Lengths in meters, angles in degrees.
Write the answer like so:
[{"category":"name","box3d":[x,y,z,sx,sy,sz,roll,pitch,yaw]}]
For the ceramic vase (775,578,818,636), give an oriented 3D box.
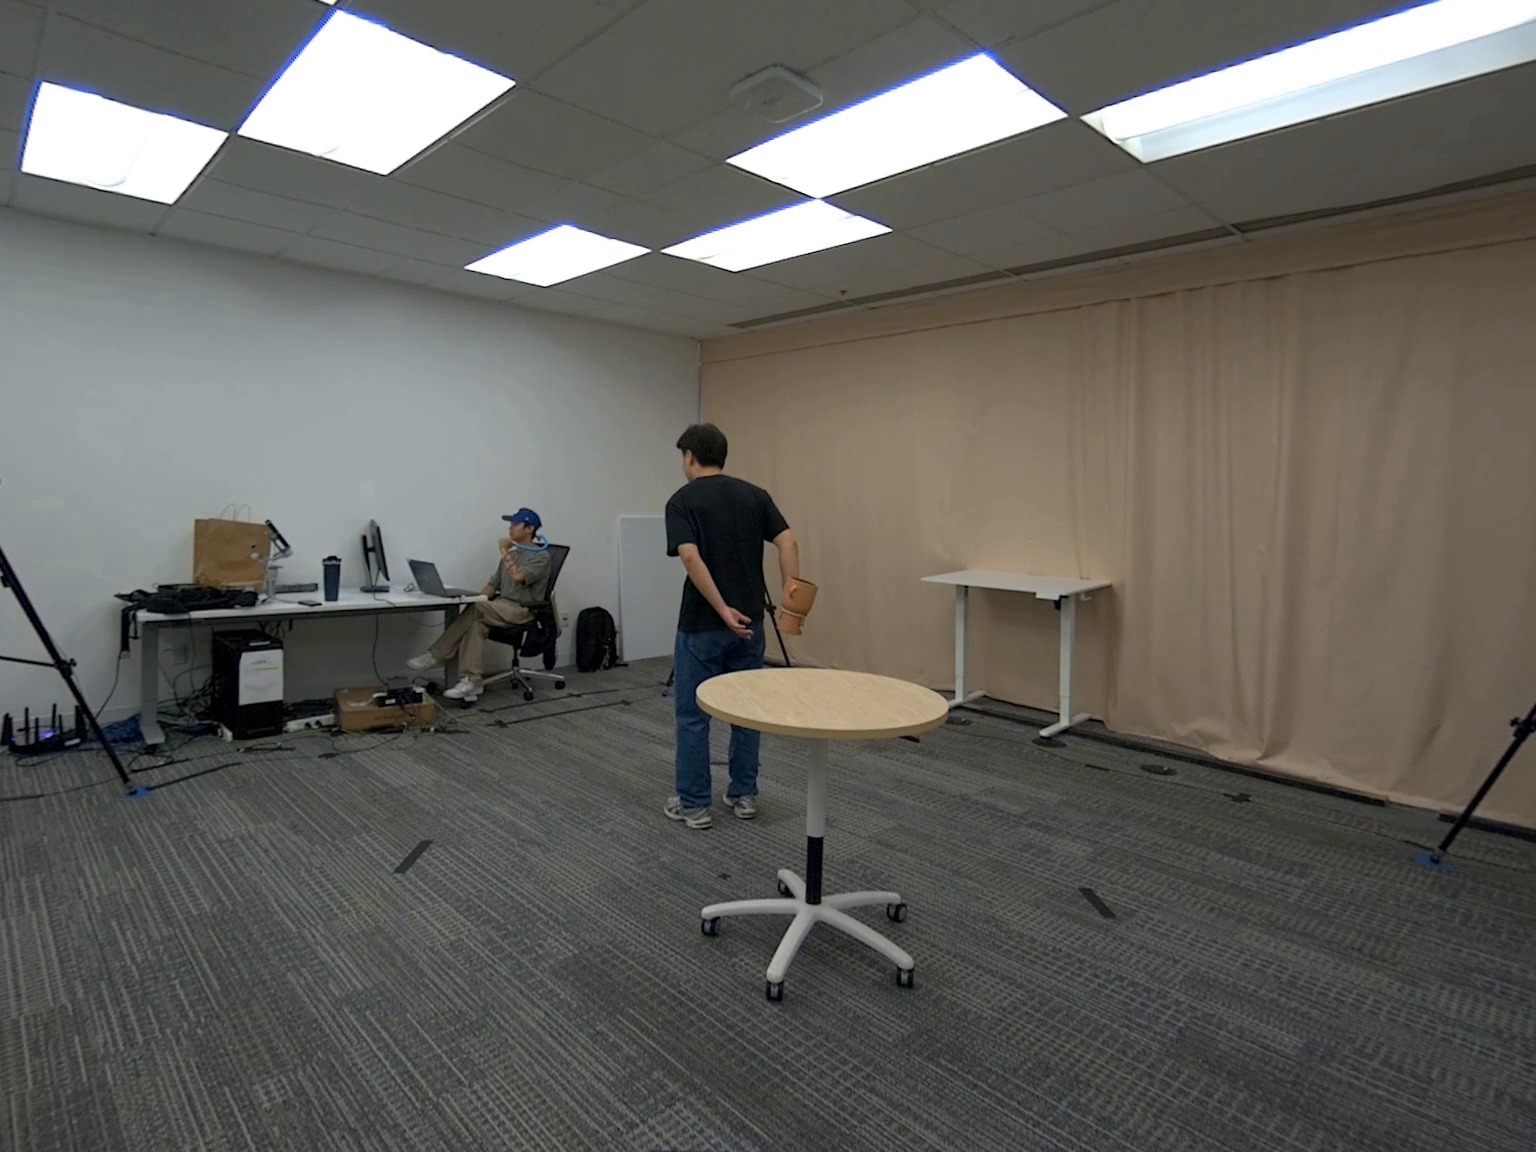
[{"category":"ceramic vase","box3d":[0.099,0.121,3.487,0.155,0.219,0.138,15,5,-27]}]
